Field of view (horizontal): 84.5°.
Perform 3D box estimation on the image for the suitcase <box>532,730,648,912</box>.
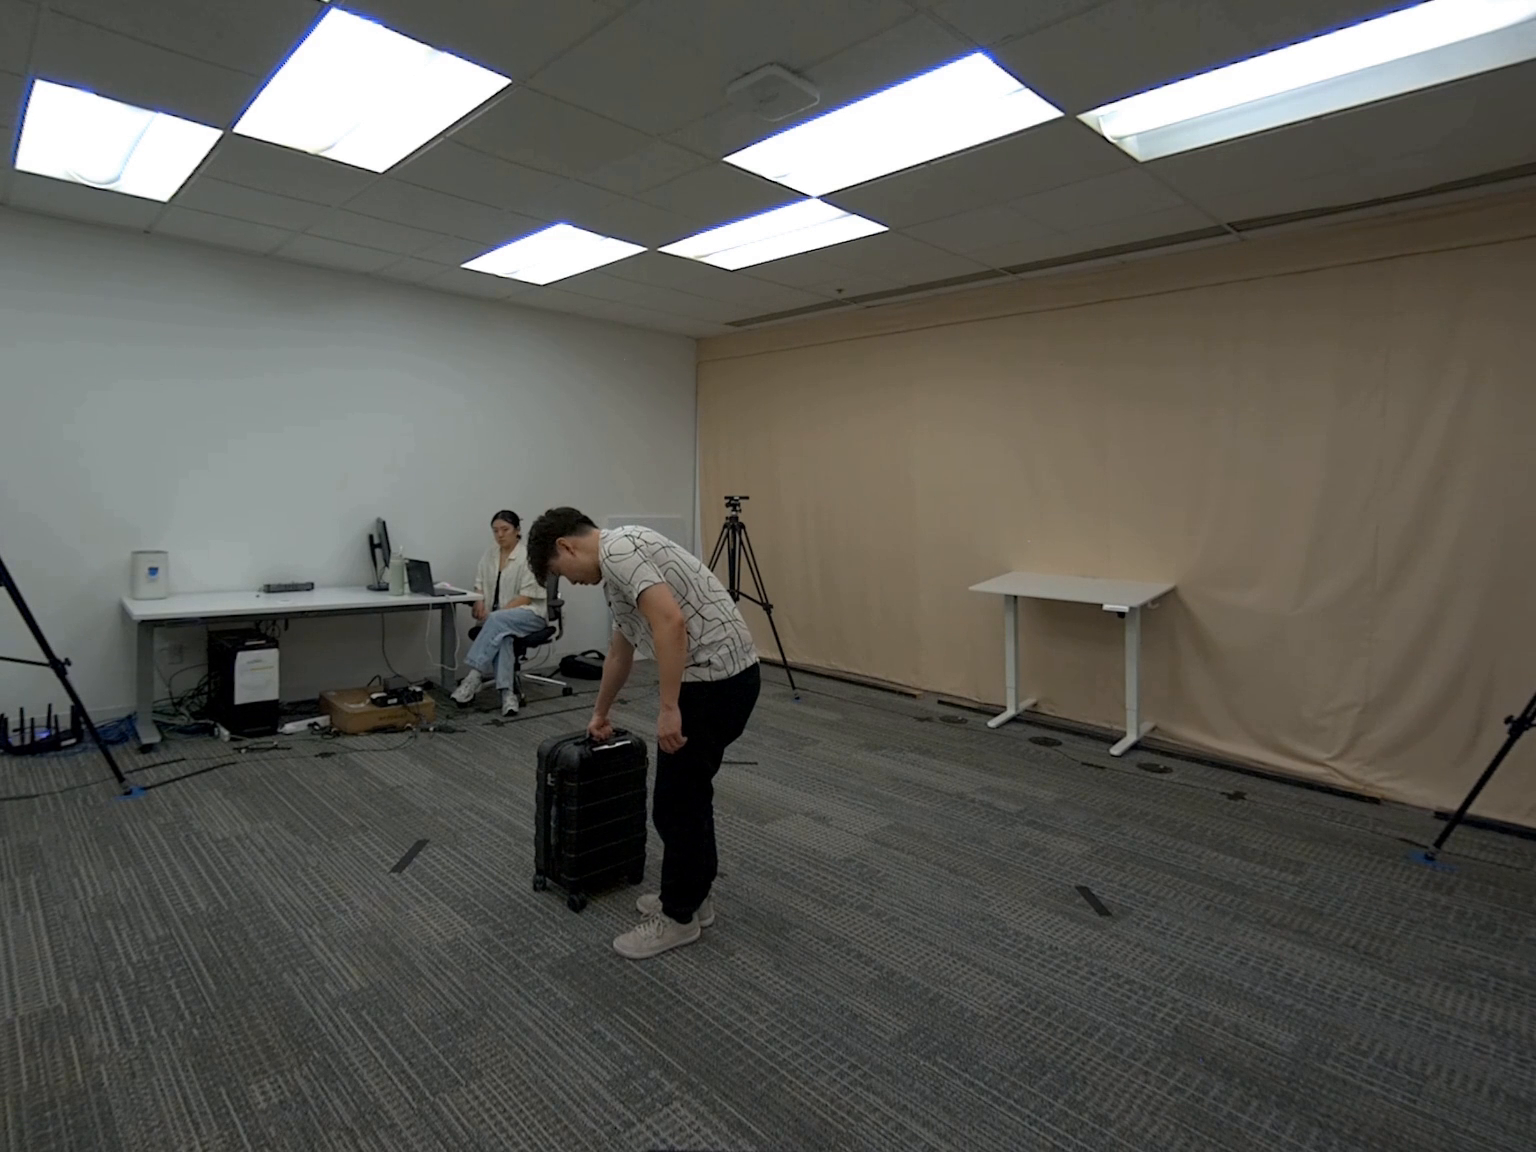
[{"bbox_3d":[-0.635,0.826,2.989,0.255,0.548,0.367,5,5,43],"label":"suitcase"}]
